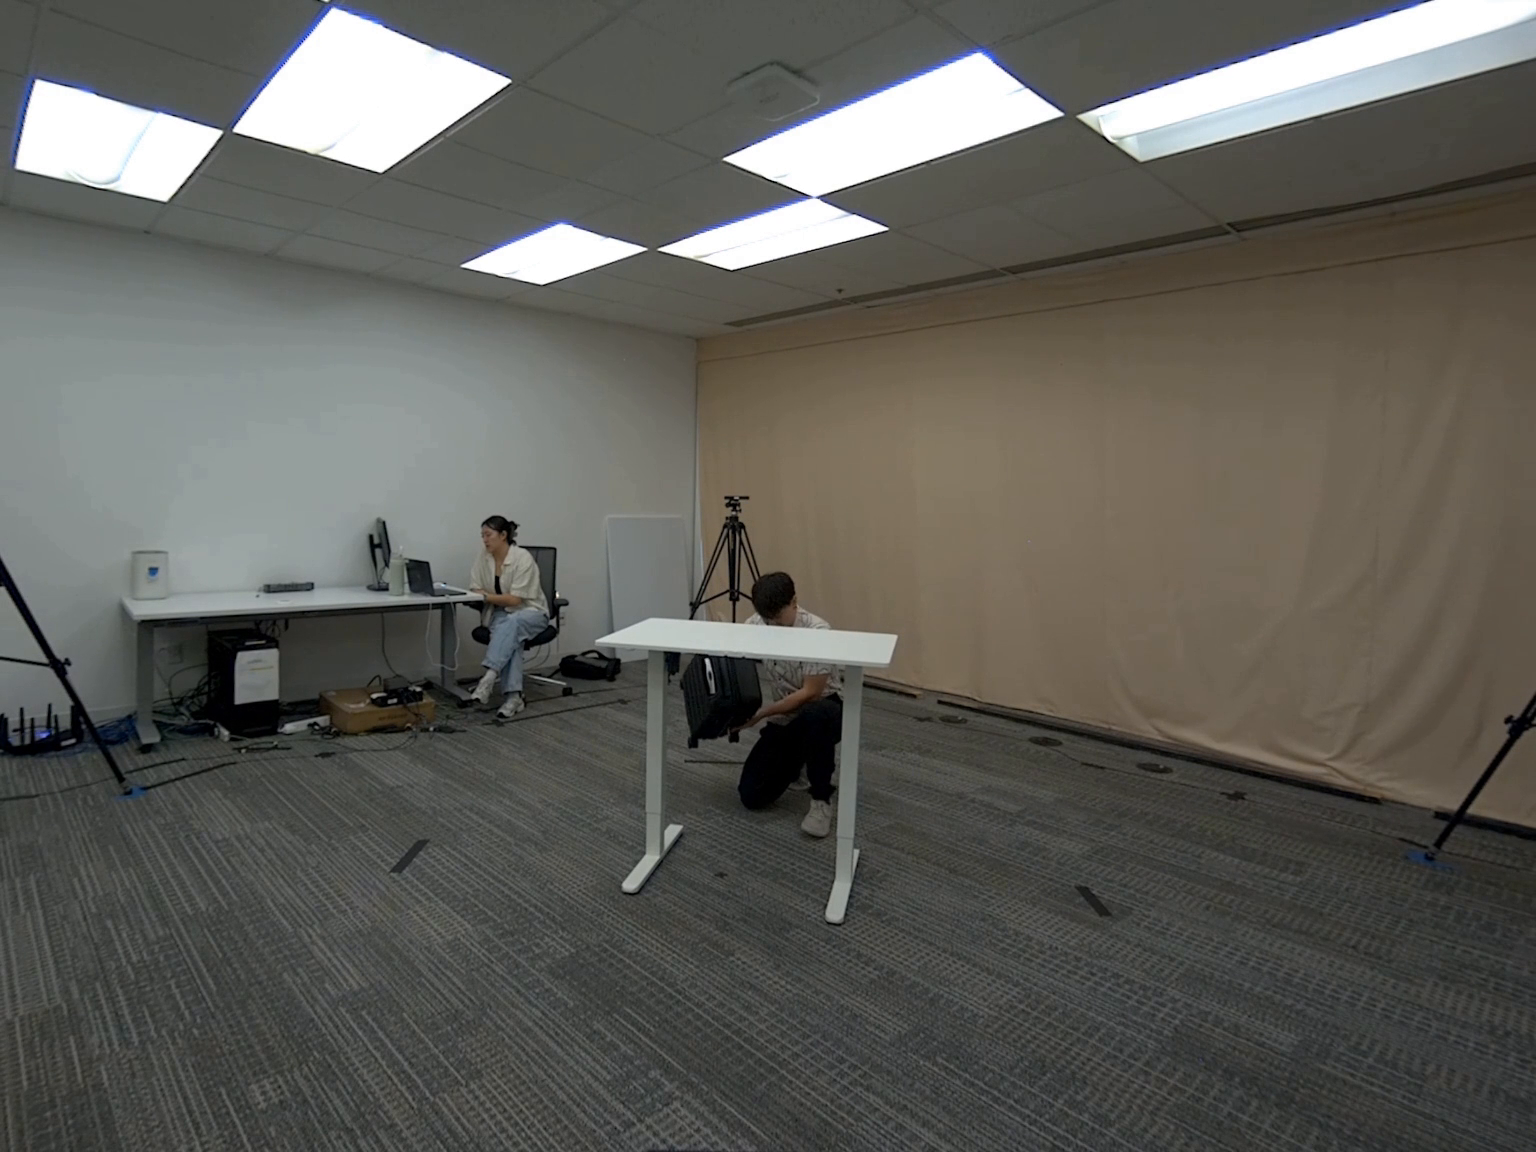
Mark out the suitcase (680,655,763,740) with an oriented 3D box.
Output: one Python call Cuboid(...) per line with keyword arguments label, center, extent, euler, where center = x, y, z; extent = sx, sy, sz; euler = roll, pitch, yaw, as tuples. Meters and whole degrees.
Cuboid(label="suitcase", center=(-0.225, 0.527, 3.888), extent=(0.245, 0.383, 0.546), euler=(-3, -25, -19))
